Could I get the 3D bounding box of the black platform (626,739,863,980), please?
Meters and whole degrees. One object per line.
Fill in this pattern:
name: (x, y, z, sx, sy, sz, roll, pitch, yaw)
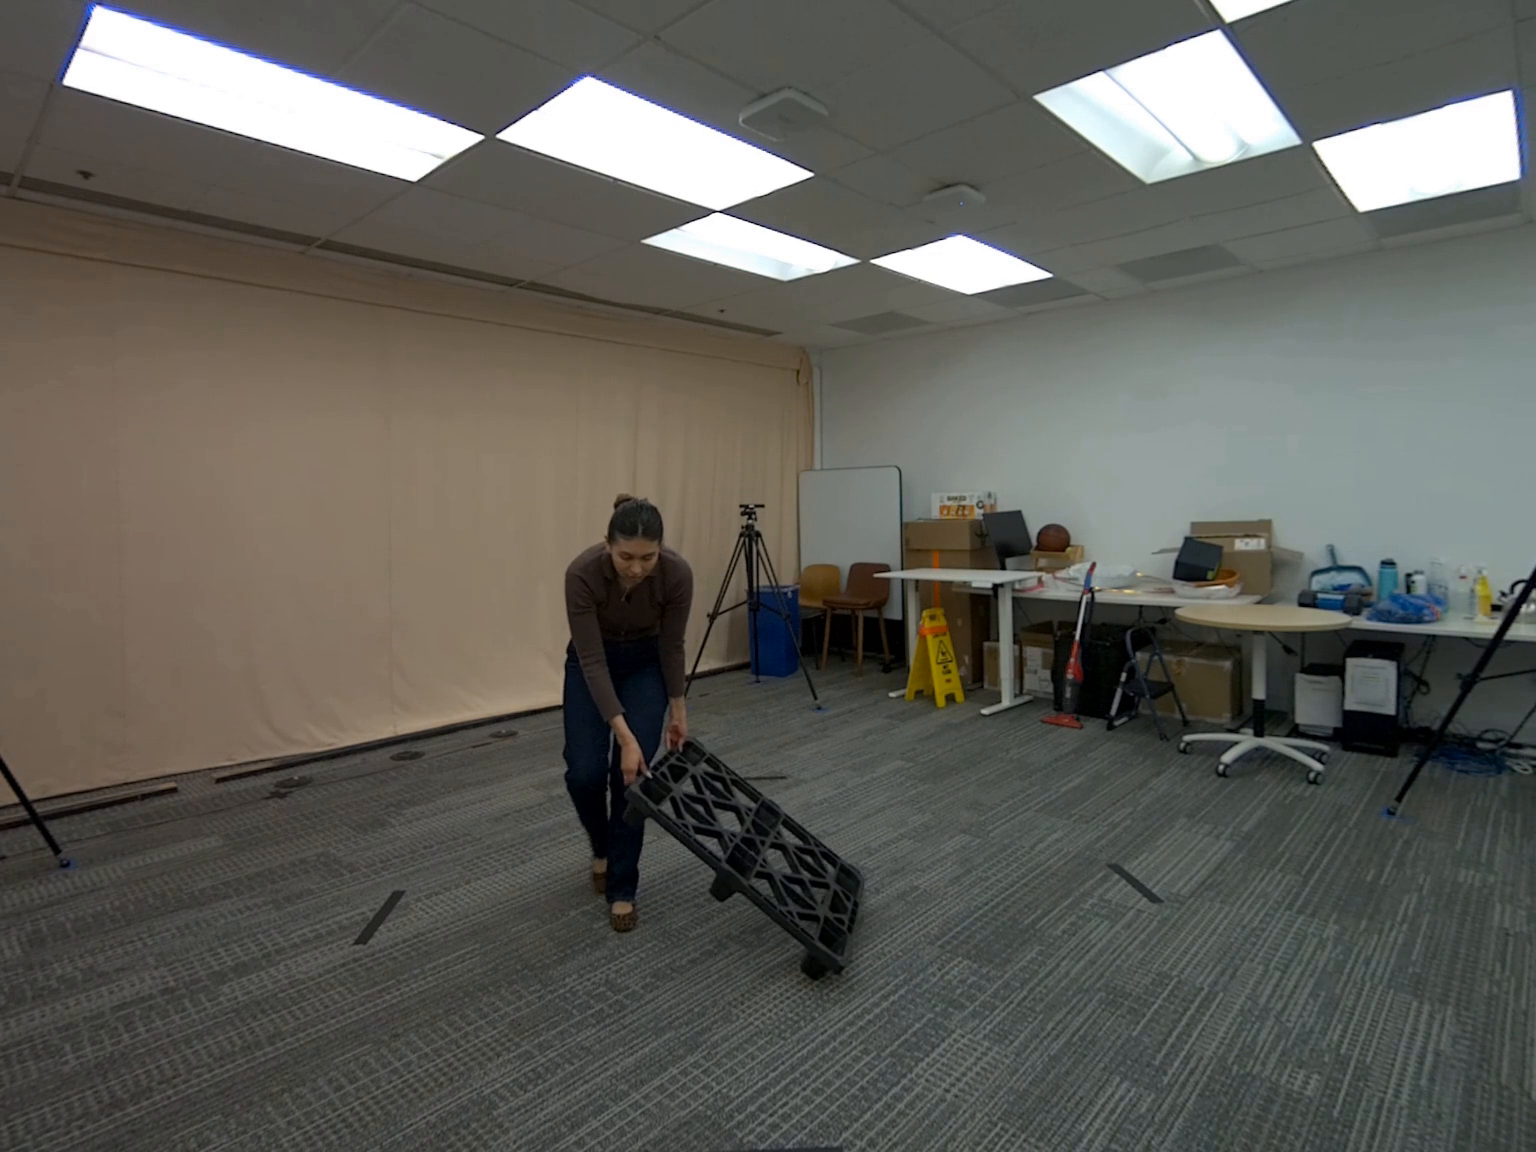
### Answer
black platform: (-0.067, 0.891, 2.736, 0.815, 0.143, 0.597, 37, 10, 9)
